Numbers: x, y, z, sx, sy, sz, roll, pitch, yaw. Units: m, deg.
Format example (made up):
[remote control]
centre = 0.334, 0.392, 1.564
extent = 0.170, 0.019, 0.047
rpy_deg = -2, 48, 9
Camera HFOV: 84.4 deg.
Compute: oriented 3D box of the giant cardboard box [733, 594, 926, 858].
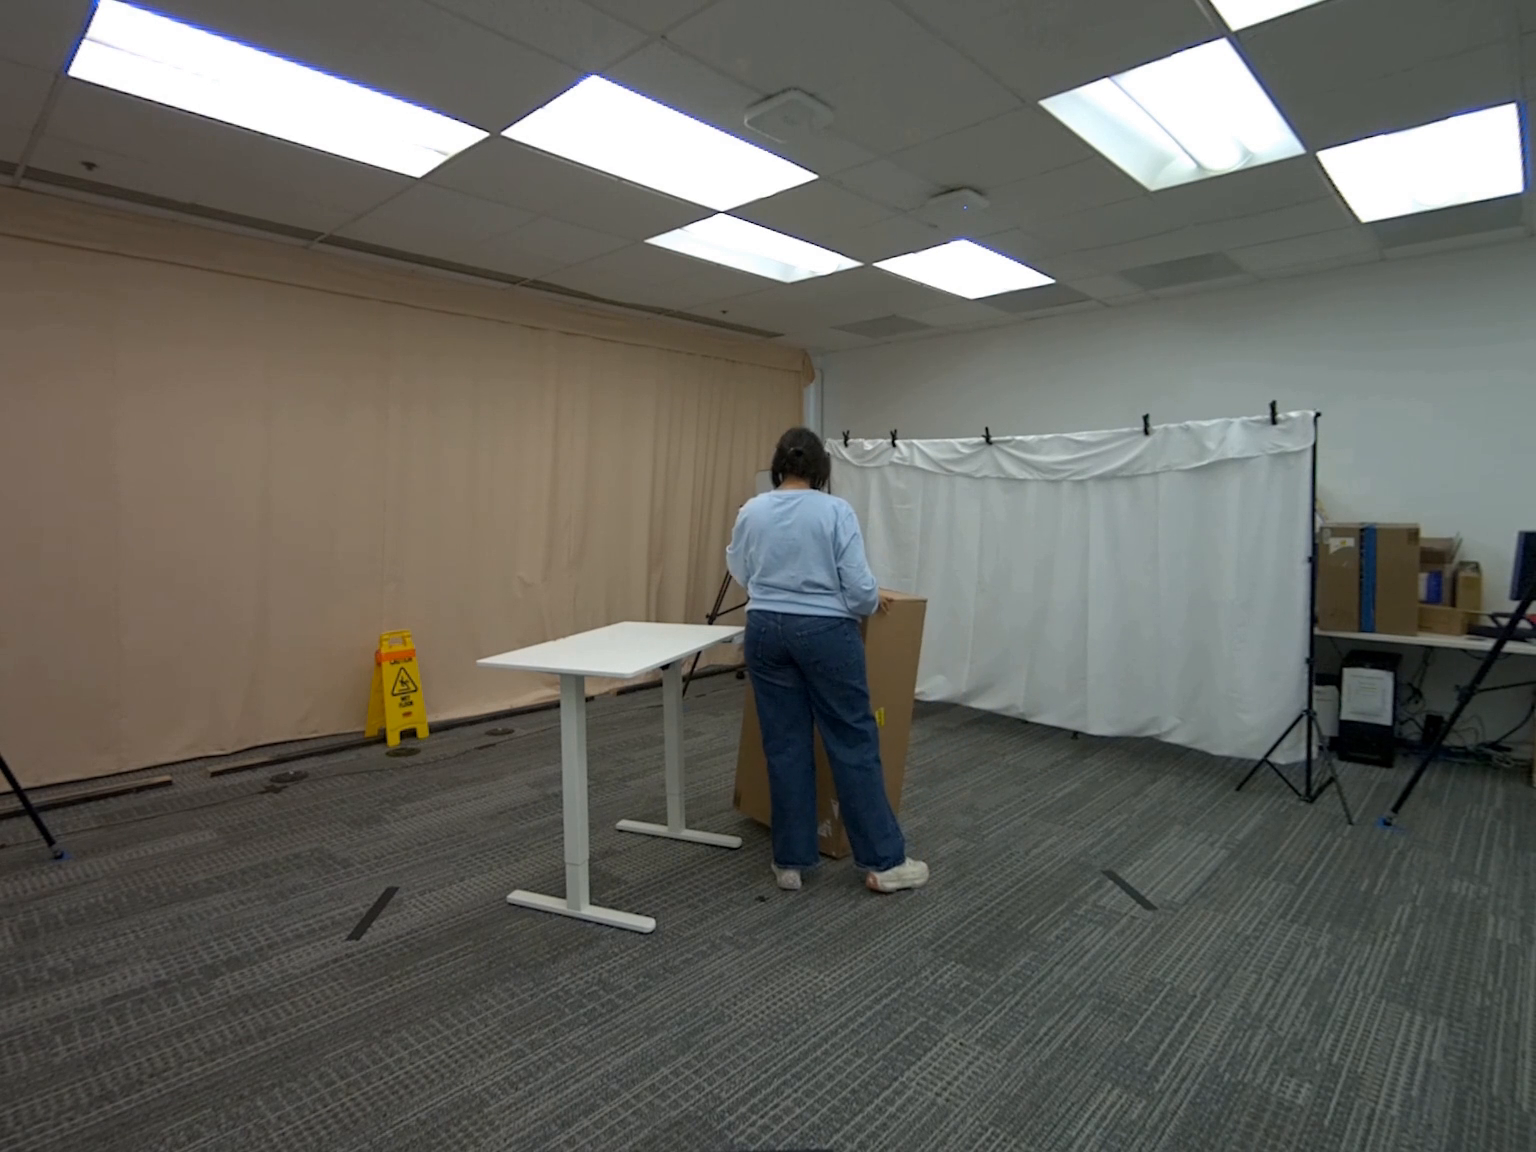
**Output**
[giant cardboard box]
centre = 0.260, 0.555, 3.593
extent = 0.598, 1.023, 0.412
rpy_deg = 12, 7, 41
